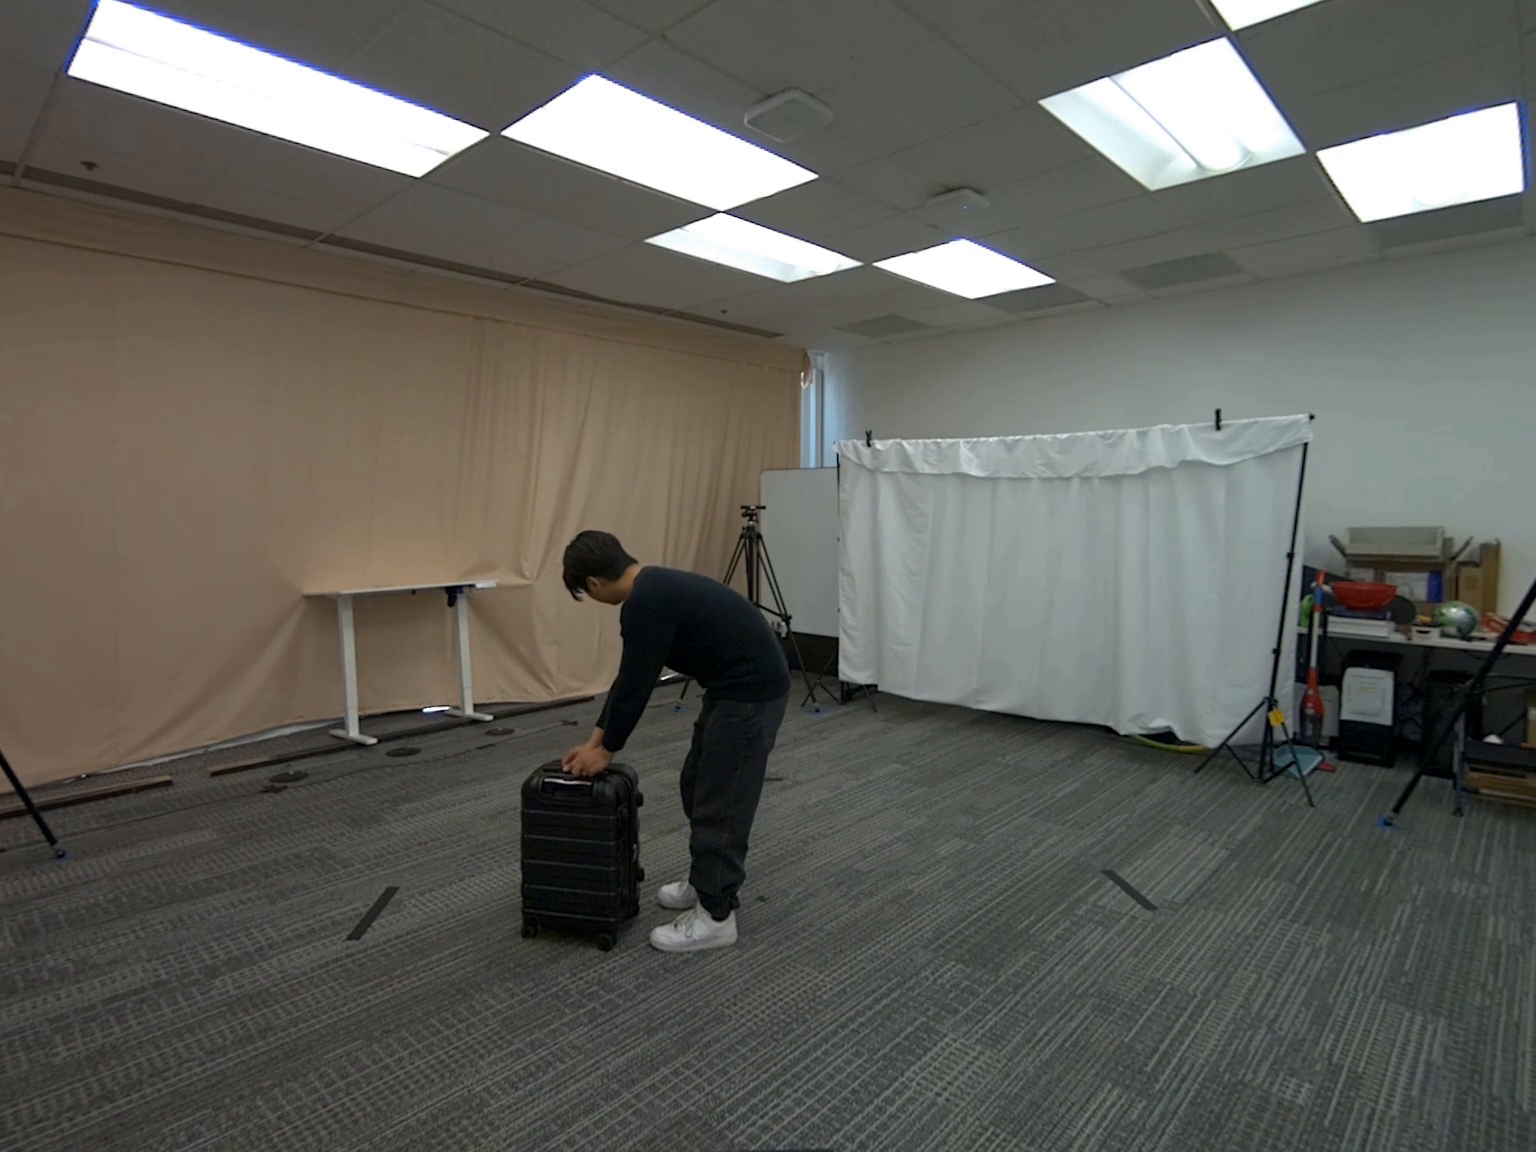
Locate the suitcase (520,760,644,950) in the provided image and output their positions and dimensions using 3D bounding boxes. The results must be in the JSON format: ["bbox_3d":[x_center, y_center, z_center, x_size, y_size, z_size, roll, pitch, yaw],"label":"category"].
[{"bbox_3d":[-0.619,0.894,2.767,0.380,0.549,0.245,0,1,12],"label":"suitcase"}]
